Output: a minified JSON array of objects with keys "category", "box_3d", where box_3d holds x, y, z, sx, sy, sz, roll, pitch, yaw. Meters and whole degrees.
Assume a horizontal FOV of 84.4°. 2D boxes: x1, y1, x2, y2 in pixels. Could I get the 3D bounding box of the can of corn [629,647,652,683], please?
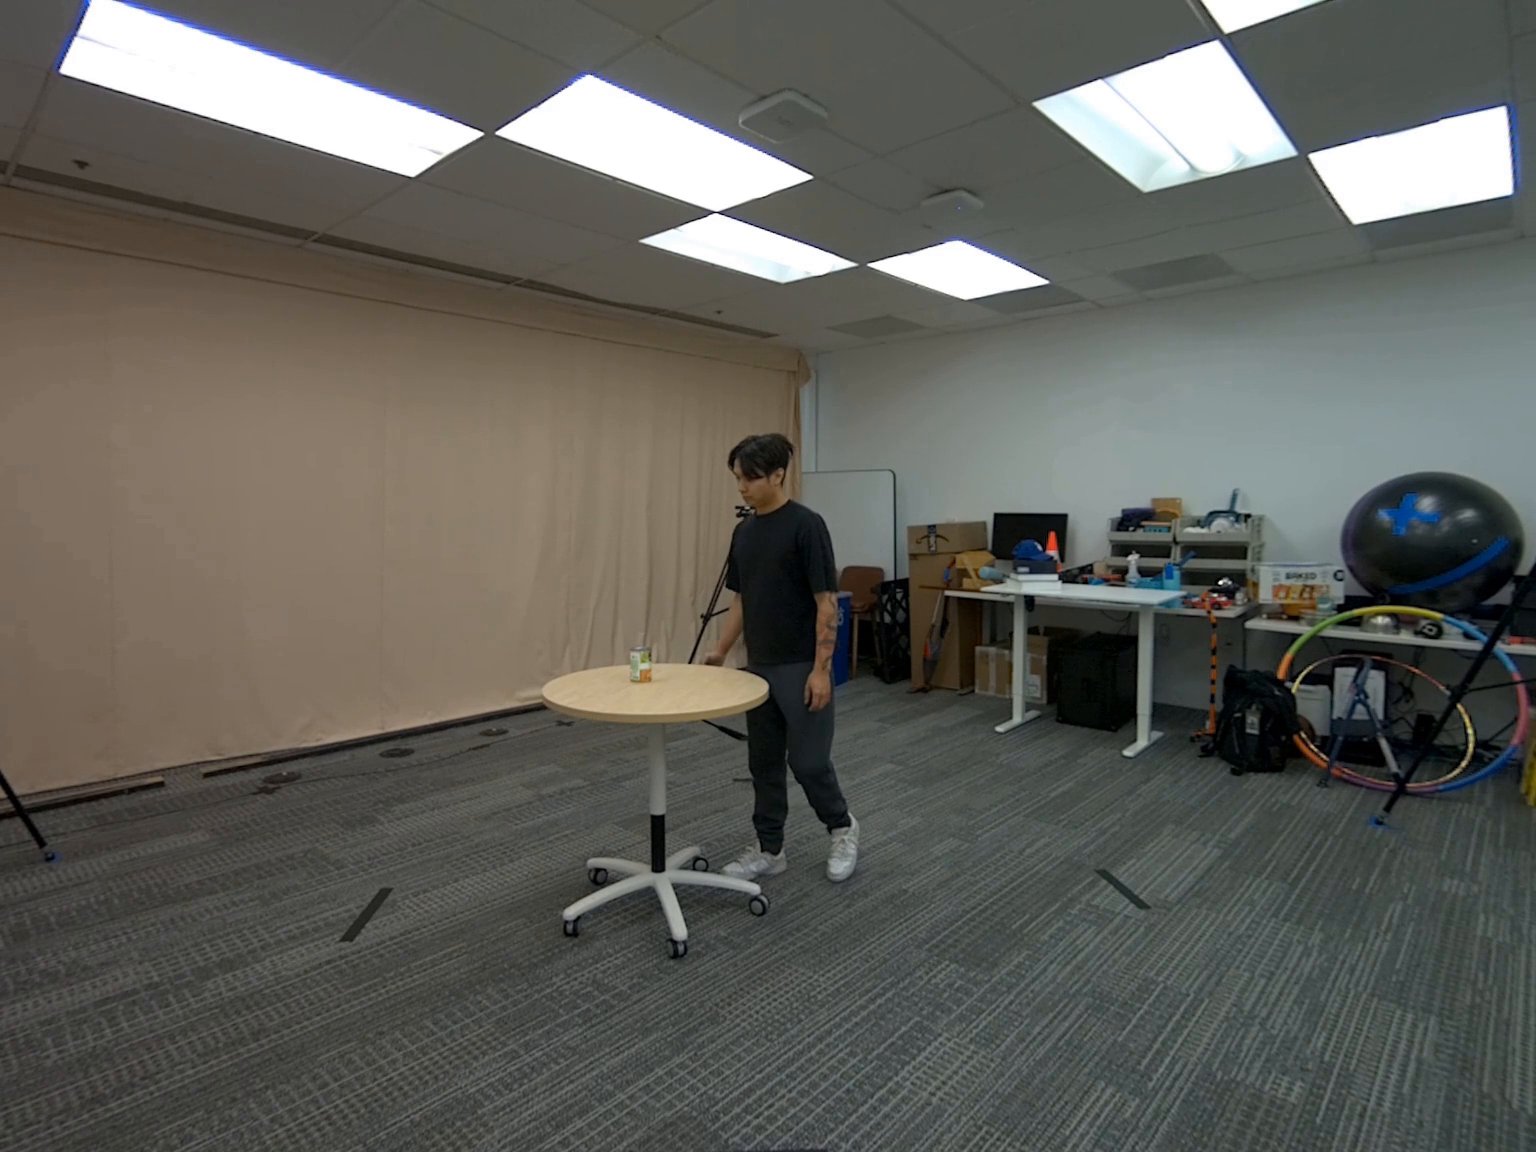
[{"category":"can of corn","box_3d":[-0.445,0.313,2.945,0.074,0.111,0.074,-1,1,-2]}]
